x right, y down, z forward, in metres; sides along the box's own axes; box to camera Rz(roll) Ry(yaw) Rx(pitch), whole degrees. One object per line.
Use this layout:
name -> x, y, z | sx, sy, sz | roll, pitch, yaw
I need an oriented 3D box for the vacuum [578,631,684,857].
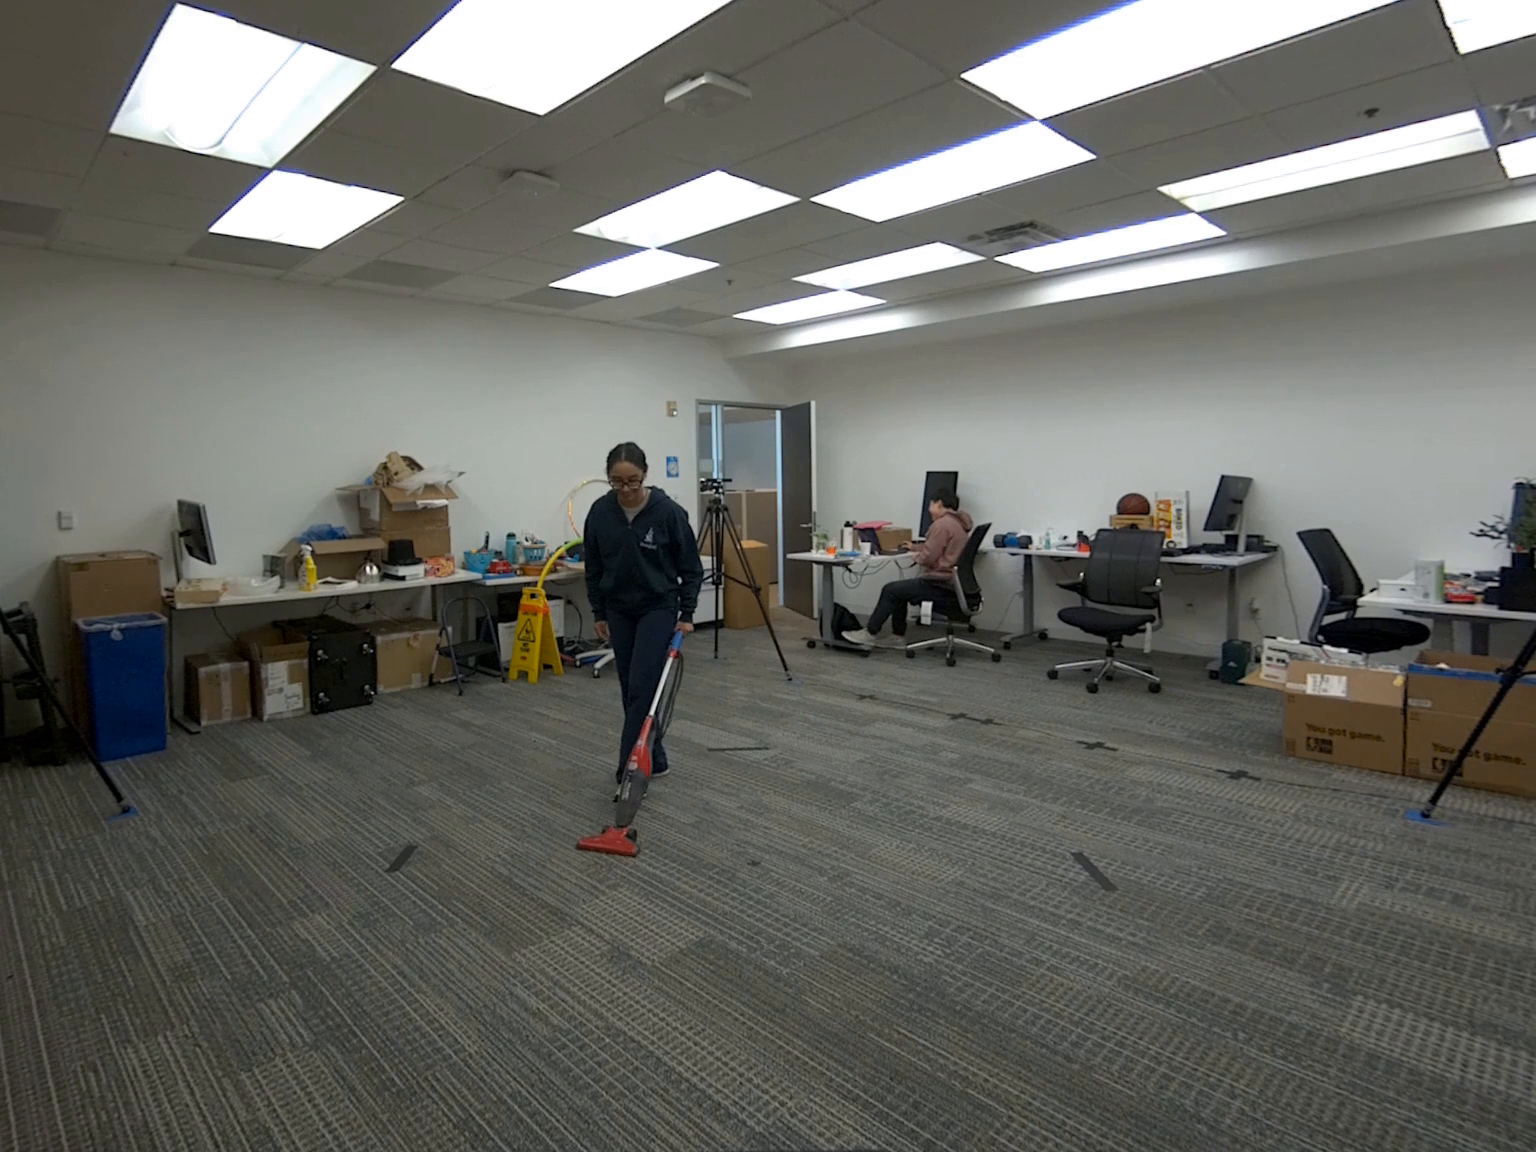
vacuum -> -0.477, 0.625, 3.580 | 0.257, 1.067, 0.139 | 0, -41, 20
